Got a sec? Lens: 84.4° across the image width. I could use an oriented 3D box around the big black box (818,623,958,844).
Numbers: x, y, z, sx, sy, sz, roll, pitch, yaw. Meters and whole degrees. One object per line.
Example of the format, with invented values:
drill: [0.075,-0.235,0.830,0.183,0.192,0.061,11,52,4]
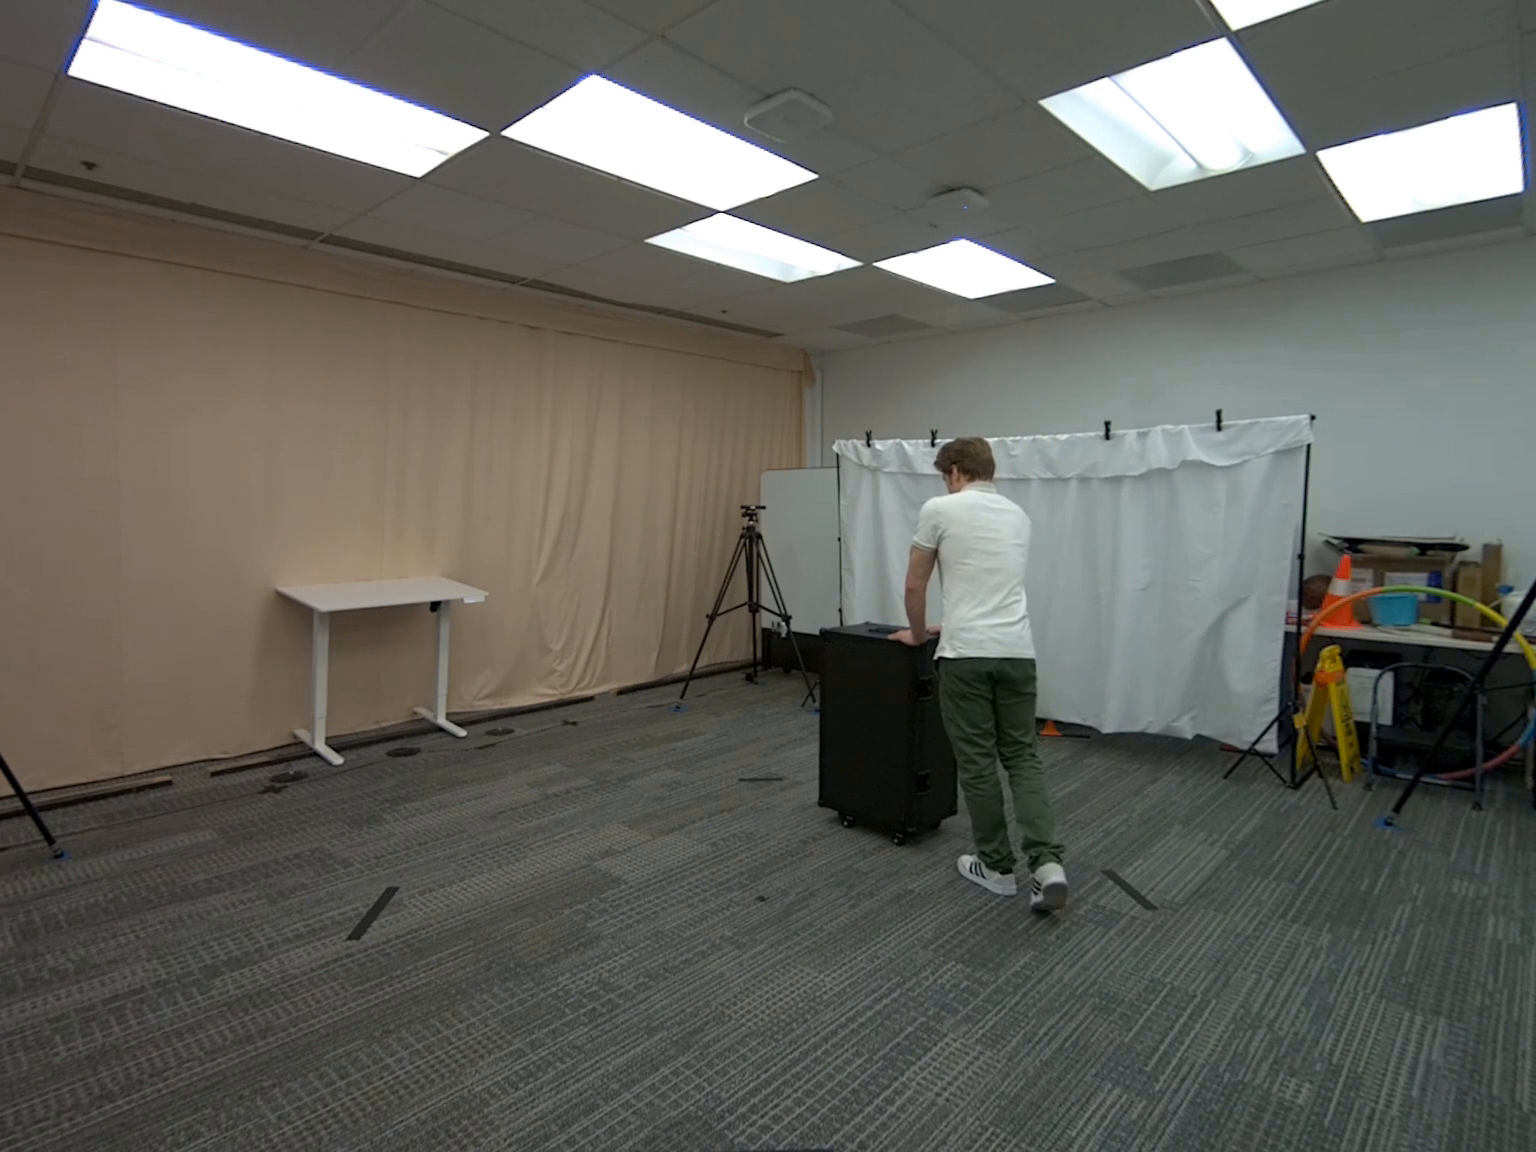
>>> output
big black box: [0.514,0.664,3.653,0.541,0.867,0.373,4,4,43]
